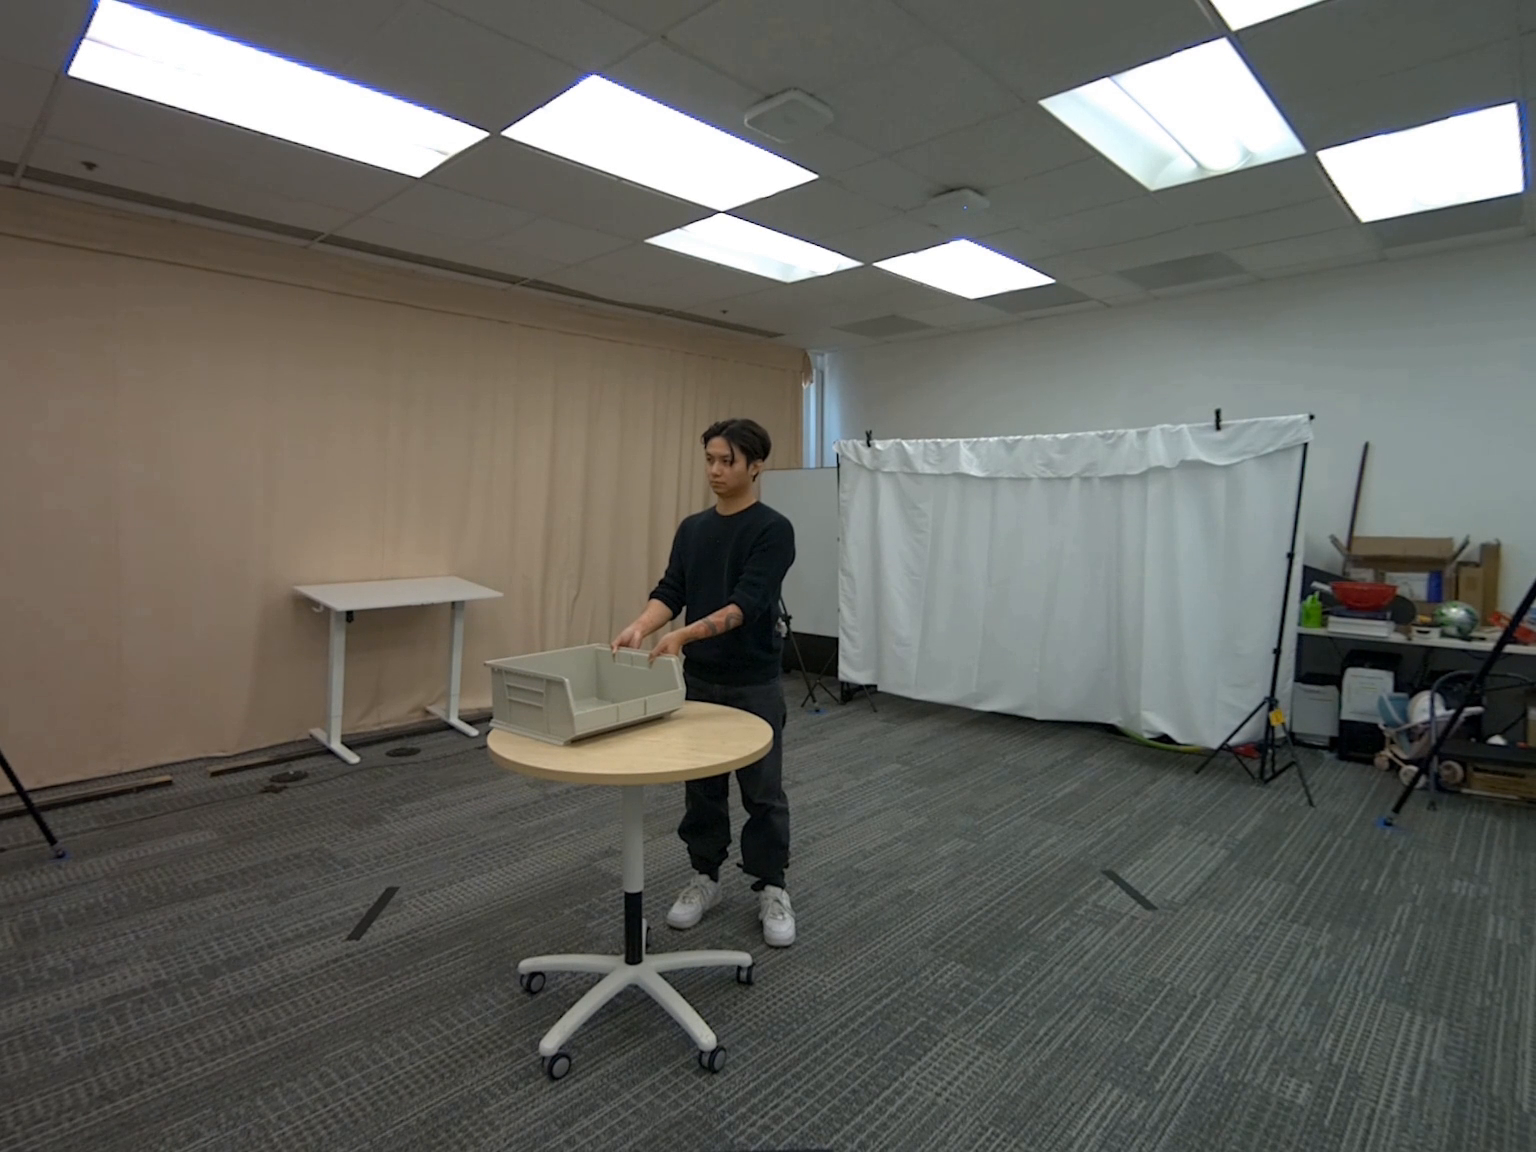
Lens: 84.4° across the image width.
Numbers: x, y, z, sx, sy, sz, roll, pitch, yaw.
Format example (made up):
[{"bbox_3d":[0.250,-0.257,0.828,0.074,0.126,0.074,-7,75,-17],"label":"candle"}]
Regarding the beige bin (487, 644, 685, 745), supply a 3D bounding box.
[{"bbox_3d":[-0.512,0.326,2.371,0.389,0.188,0.410,3,6,38],"label":"beige bin"}]
